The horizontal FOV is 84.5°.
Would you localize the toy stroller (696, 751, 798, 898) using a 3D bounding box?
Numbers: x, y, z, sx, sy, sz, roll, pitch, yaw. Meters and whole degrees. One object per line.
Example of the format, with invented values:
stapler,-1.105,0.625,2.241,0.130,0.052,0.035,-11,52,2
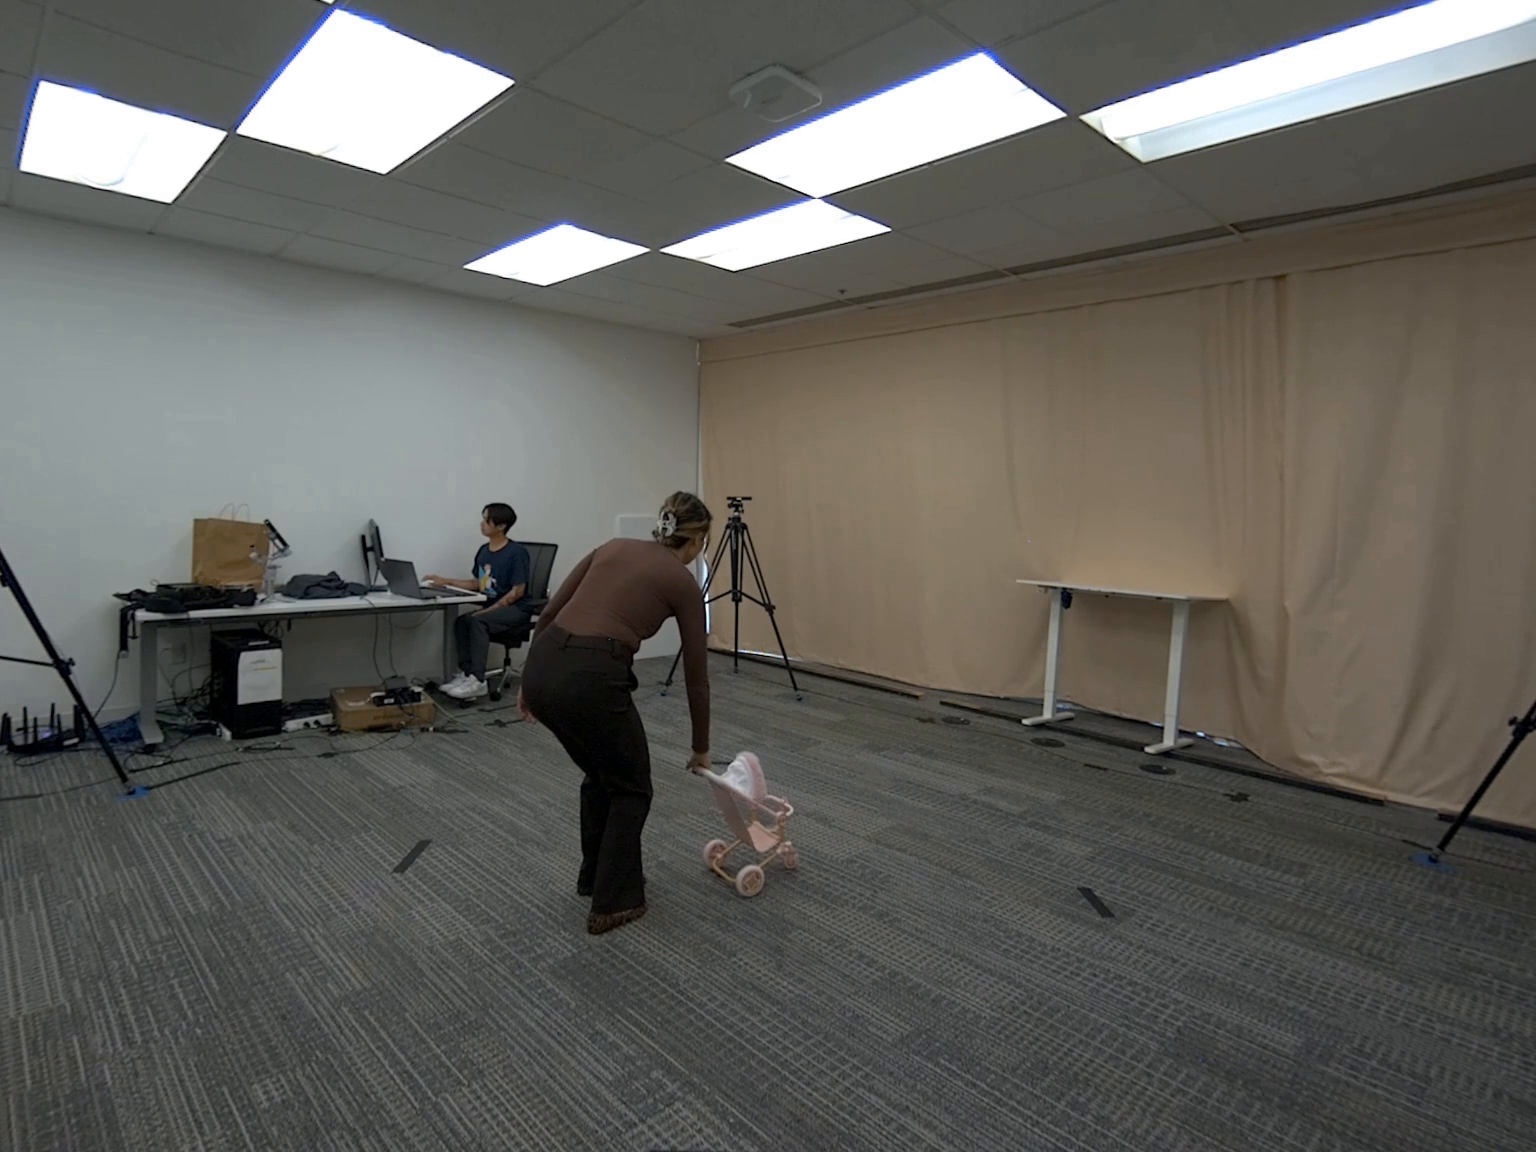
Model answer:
toy stroller,-0.075,0.879,3.074,0.337,0.531,0.287,-16,10,-26
